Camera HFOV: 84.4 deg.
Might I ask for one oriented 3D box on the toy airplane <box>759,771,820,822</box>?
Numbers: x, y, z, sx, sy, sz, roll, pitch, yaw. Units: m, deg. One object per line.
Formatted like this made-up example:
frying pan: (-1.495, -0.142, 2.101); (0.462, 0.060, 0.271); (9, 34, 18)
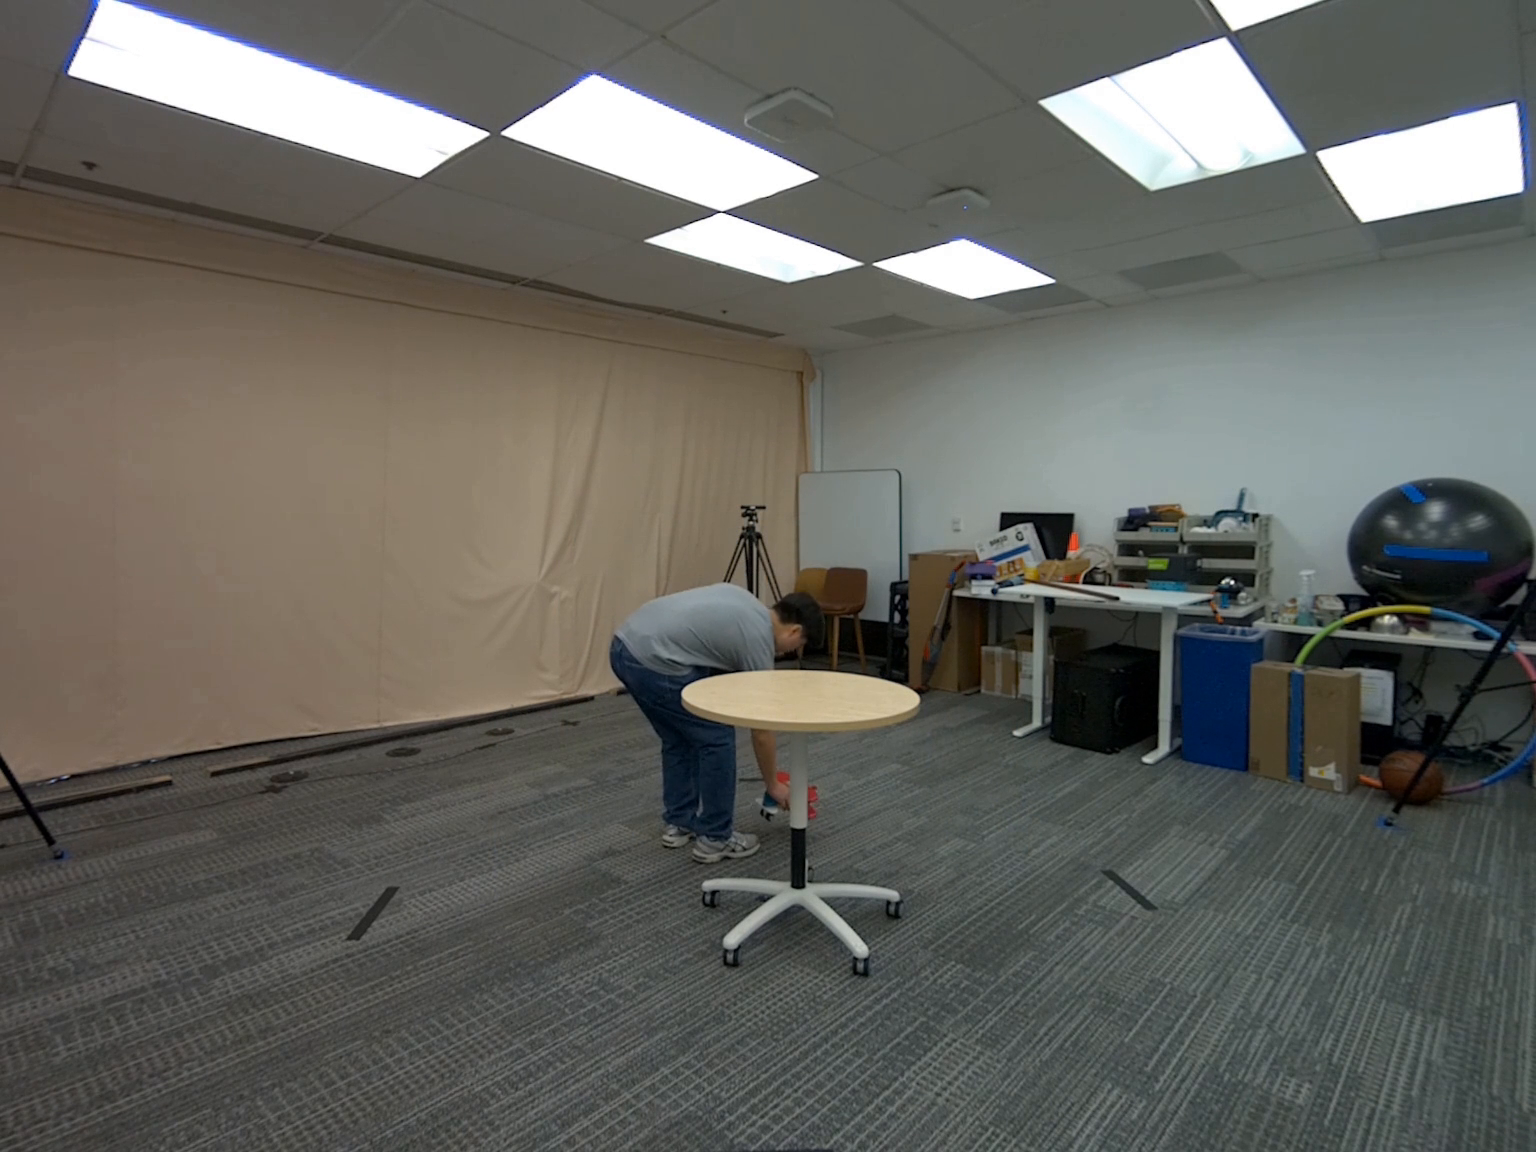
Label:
toy airplane: (0.093, 0.944, 3.535); (0.258, 0.156, 0.253); (15, 6, 22)
